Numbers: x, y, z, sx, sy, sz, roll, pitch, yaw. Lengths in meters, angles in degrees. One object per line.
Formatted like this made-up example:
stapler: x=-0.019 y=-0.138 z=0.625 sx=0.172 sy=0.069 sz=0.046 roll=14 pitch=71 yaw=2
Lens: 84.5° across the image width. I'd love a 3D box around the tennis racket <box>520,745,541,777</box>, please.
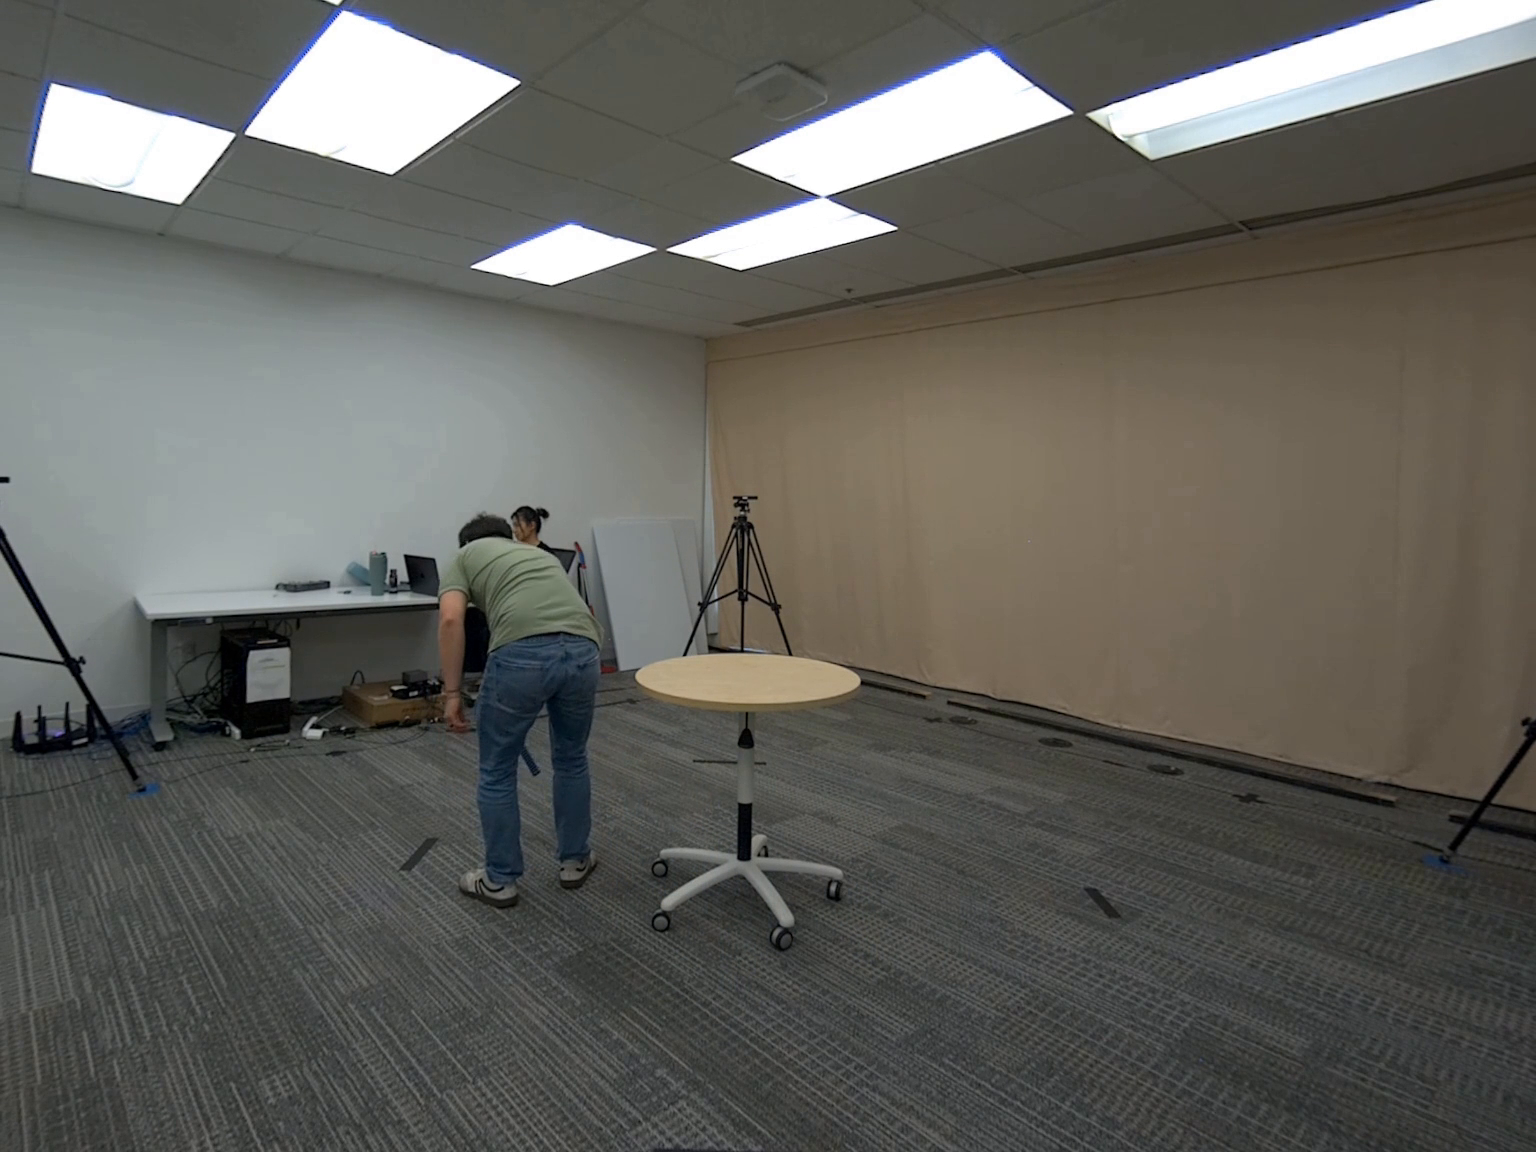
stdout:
tennis racket: x=-1.017 y=0.607 z=3.322 sx=0.443 sy=0.213 sz=0.031 roll=46 pitch=-9 yaw=24
